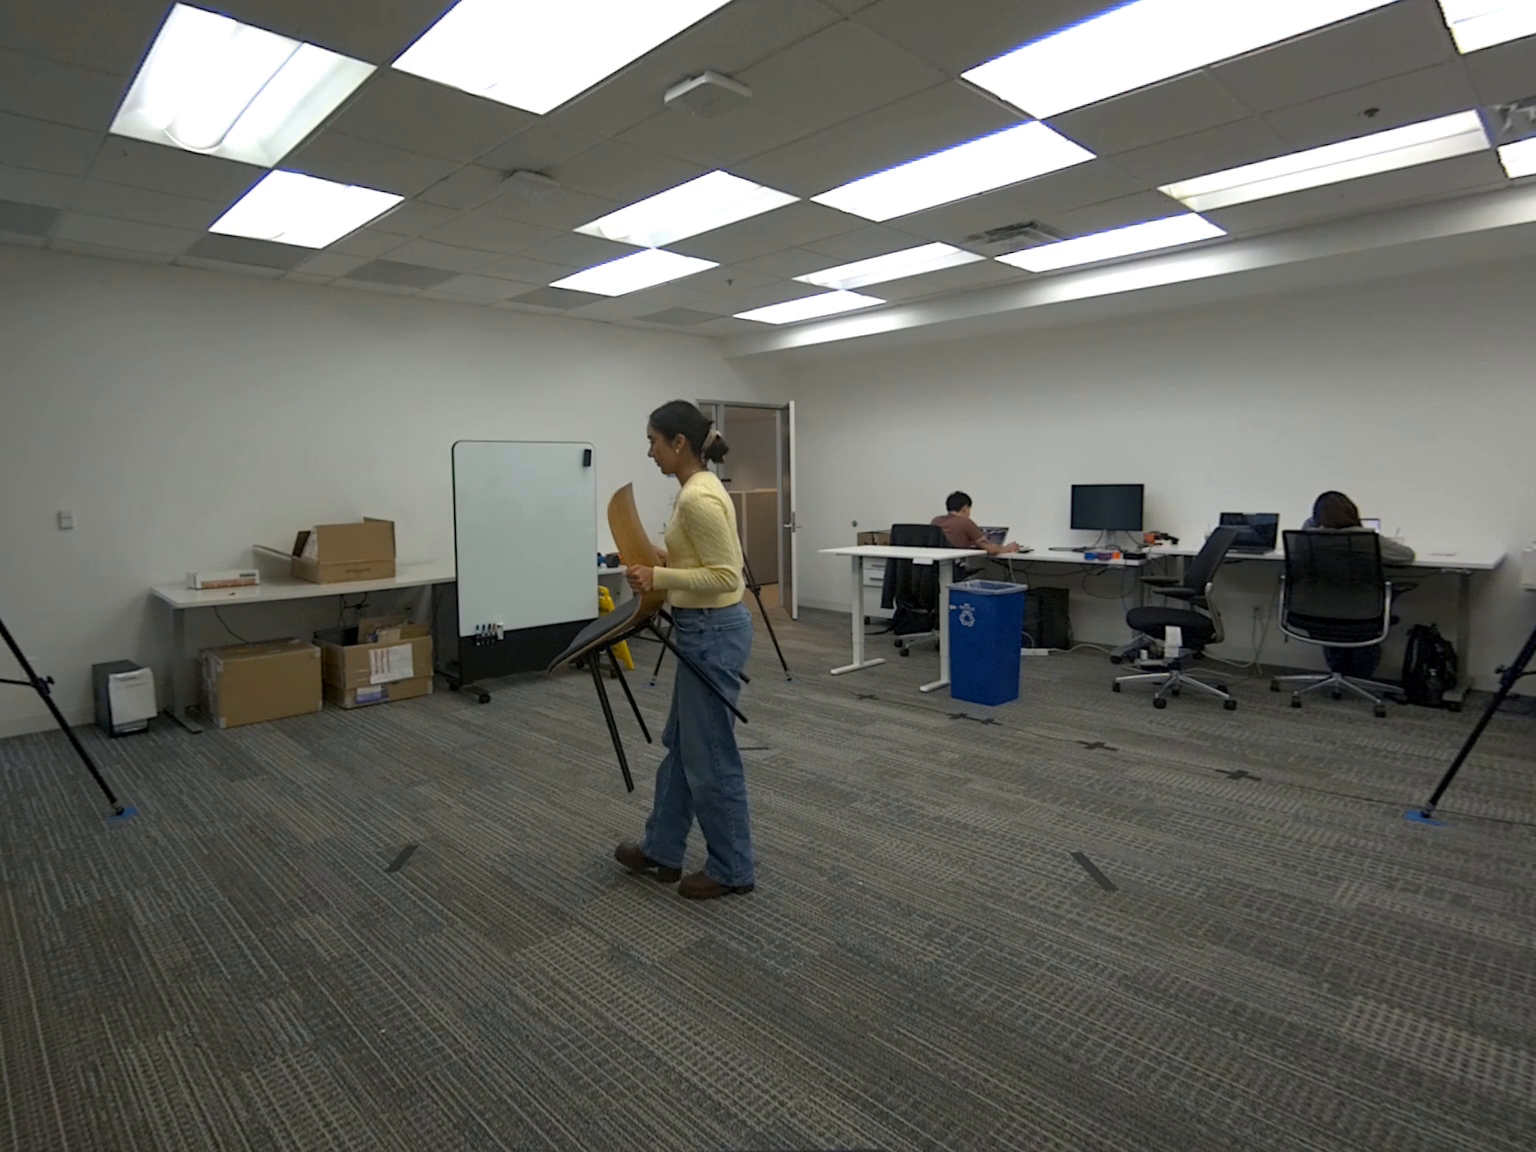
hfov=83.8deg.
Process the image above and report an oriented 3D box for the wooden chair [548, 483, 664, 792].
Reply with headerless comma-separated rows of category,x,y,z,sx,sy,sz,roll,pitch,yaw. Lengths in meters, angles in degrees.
wooden chair,-0.489,0.194,2.898,0.524,0.871,0.480,-27,6,5
